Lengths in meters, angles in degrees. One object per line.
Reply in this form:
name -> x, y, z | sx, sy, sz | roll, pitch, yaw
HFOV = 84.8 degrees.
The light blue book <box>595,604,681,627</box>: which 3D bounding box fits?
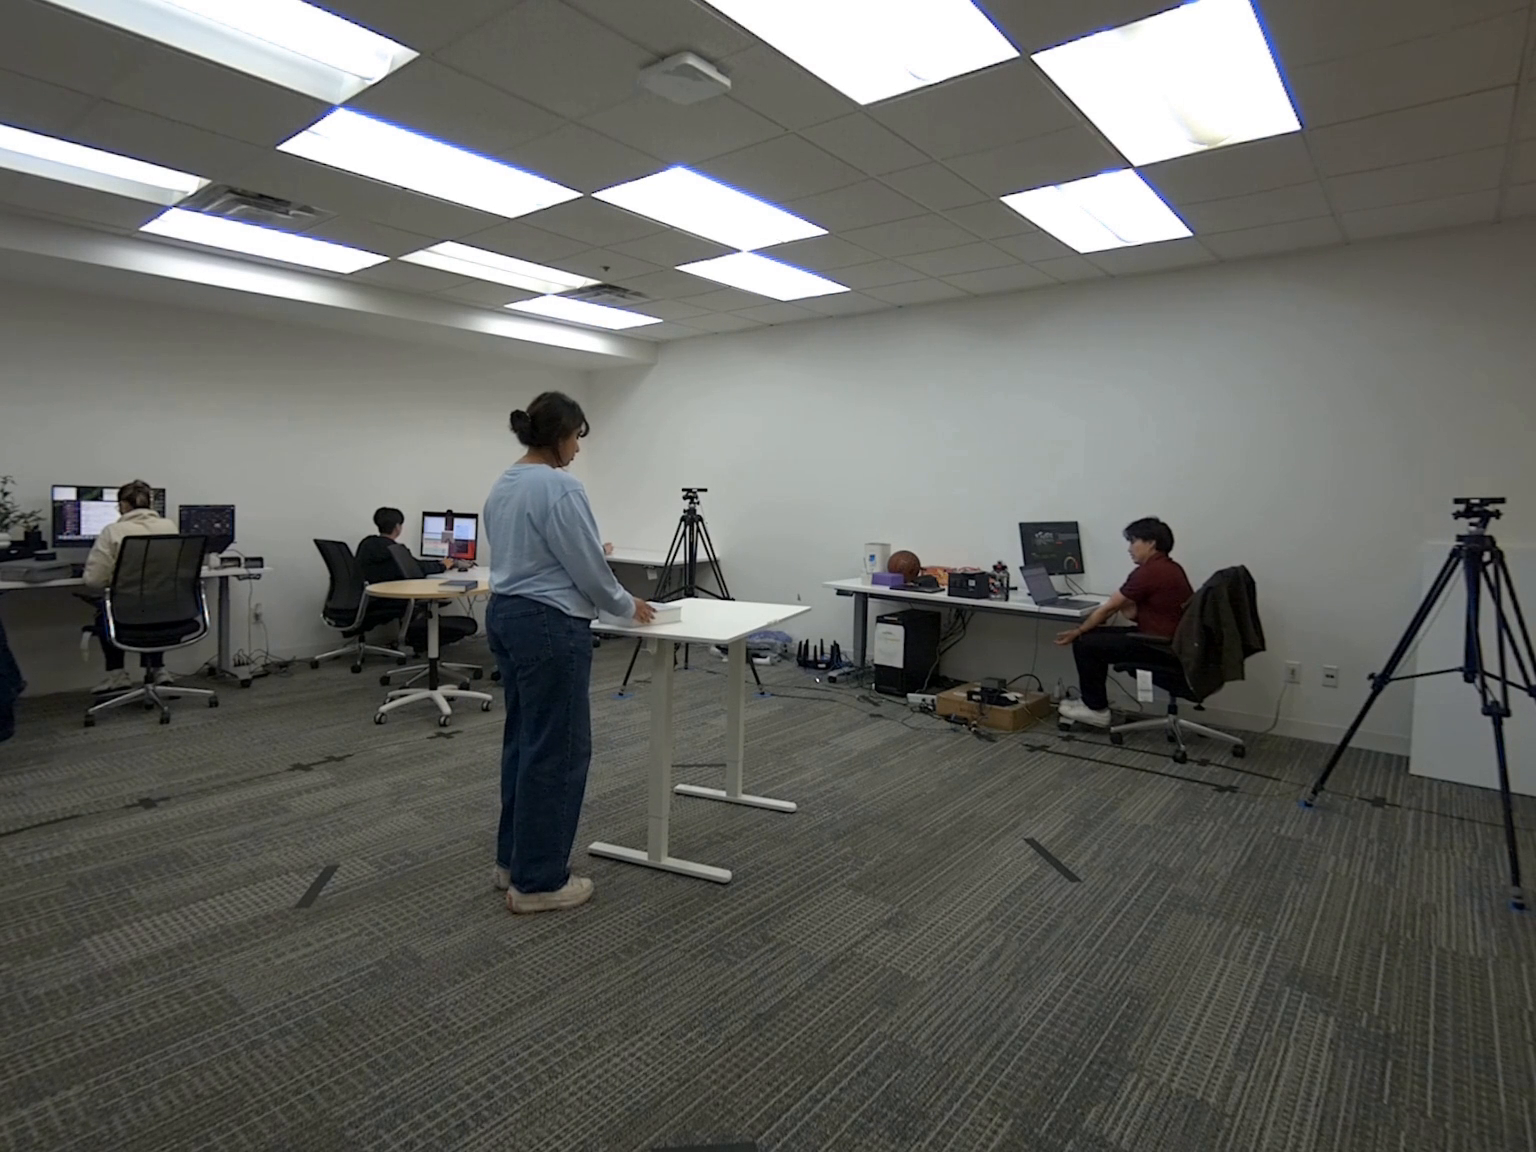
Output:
light blue book -> -0.489, 0.146, 3.219 | 0.198, 0.059, 0.253 | 6, 9, 41
